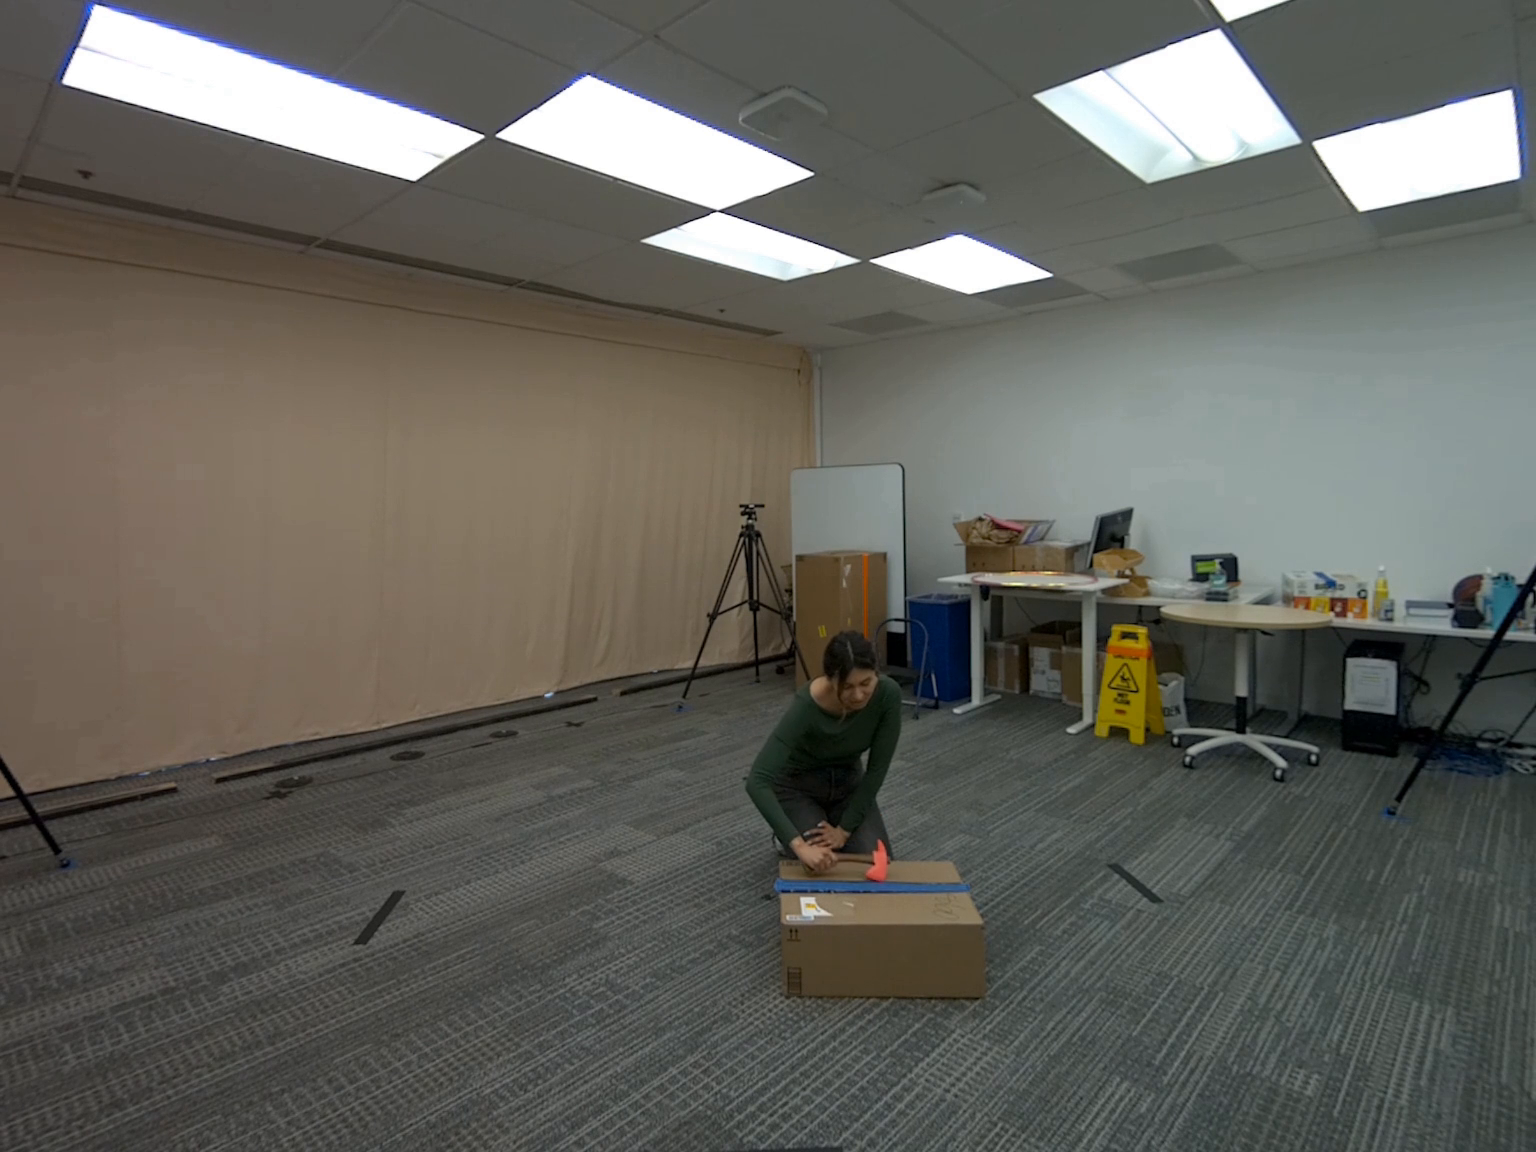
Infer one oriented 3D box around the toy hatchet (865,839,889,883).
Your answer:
[{"bbox_3d":[0.248,0.908,2.623,0.269,0.134,0.029,-13,-39,-6],"label":"toy hatchet"}]
